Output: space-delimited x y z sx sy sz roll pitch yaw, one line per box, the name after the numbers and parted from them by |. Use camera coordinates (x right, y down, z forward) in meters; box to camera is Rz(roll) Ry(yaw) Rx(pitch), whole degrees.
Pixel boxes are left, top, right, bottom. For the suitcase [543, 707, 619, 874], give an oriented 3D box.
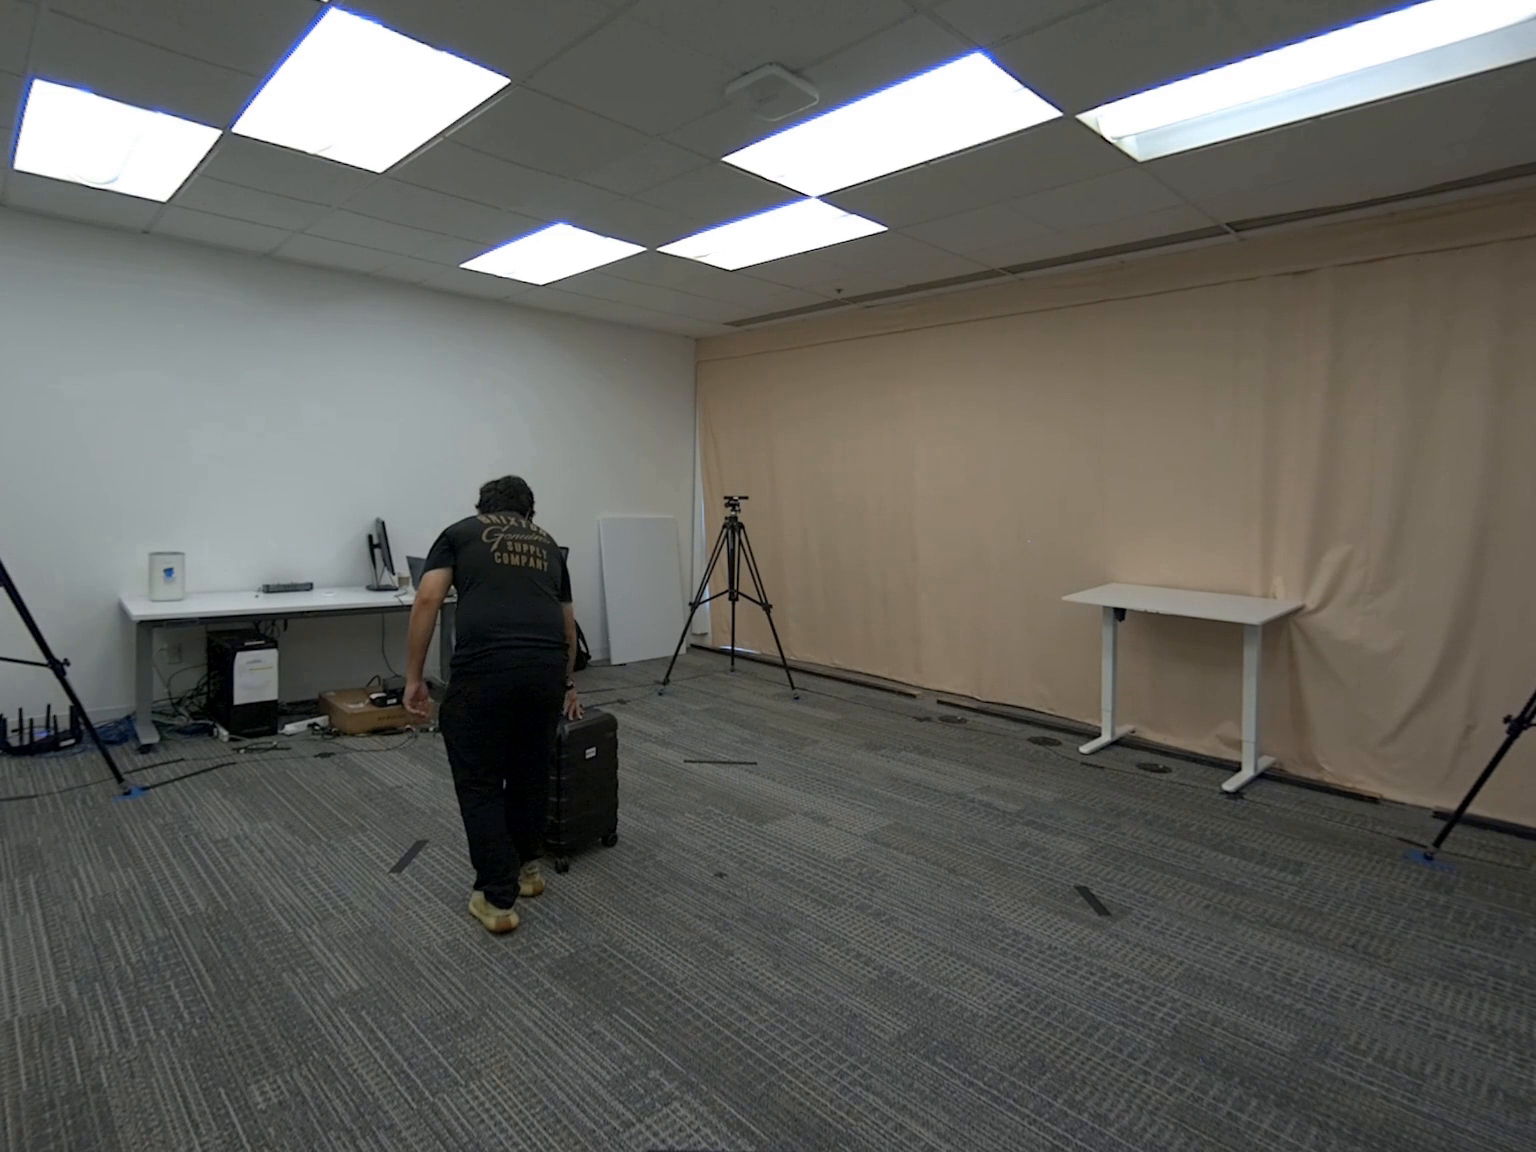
-0.781 0.800 3.283 0.254 0.548 0.368 3 4 32 | suitcase
